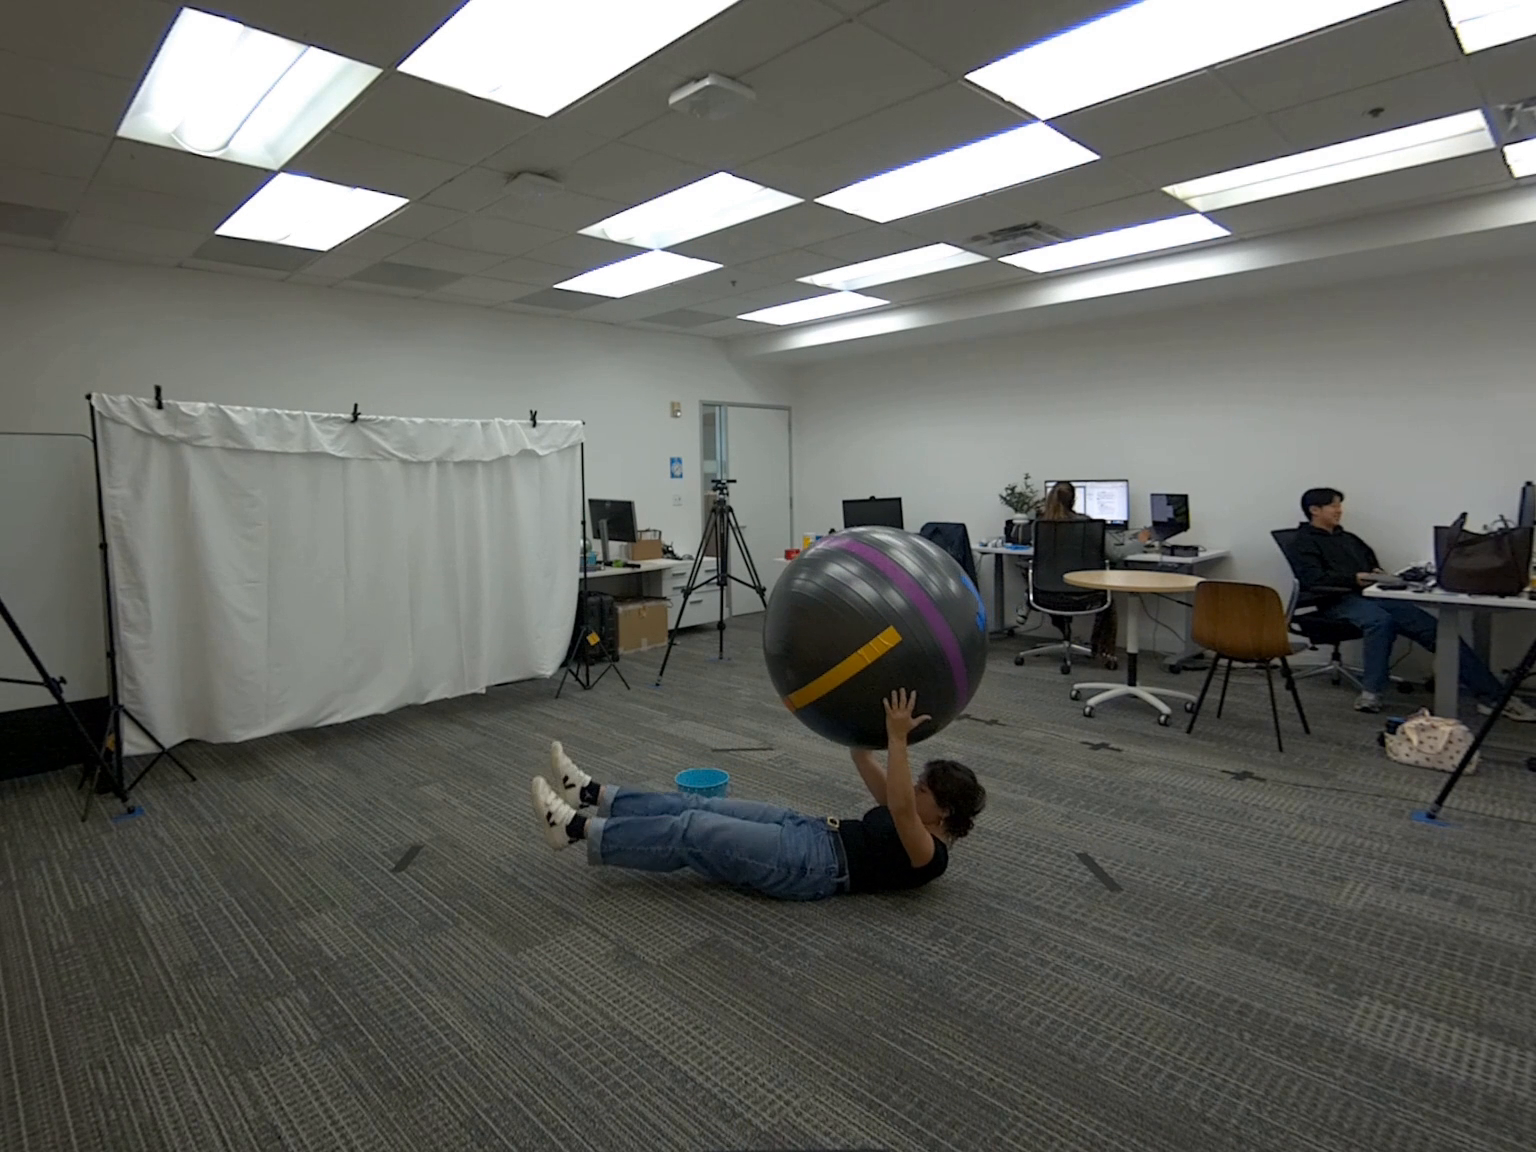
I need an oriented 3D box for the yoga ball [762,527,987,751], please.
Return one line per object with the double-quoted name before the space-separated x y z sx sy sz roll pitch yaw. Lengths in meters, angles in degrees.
"yoga ball" 0.359 0.210 2.927 0.757 0.755 0.762 -1 5 -2
